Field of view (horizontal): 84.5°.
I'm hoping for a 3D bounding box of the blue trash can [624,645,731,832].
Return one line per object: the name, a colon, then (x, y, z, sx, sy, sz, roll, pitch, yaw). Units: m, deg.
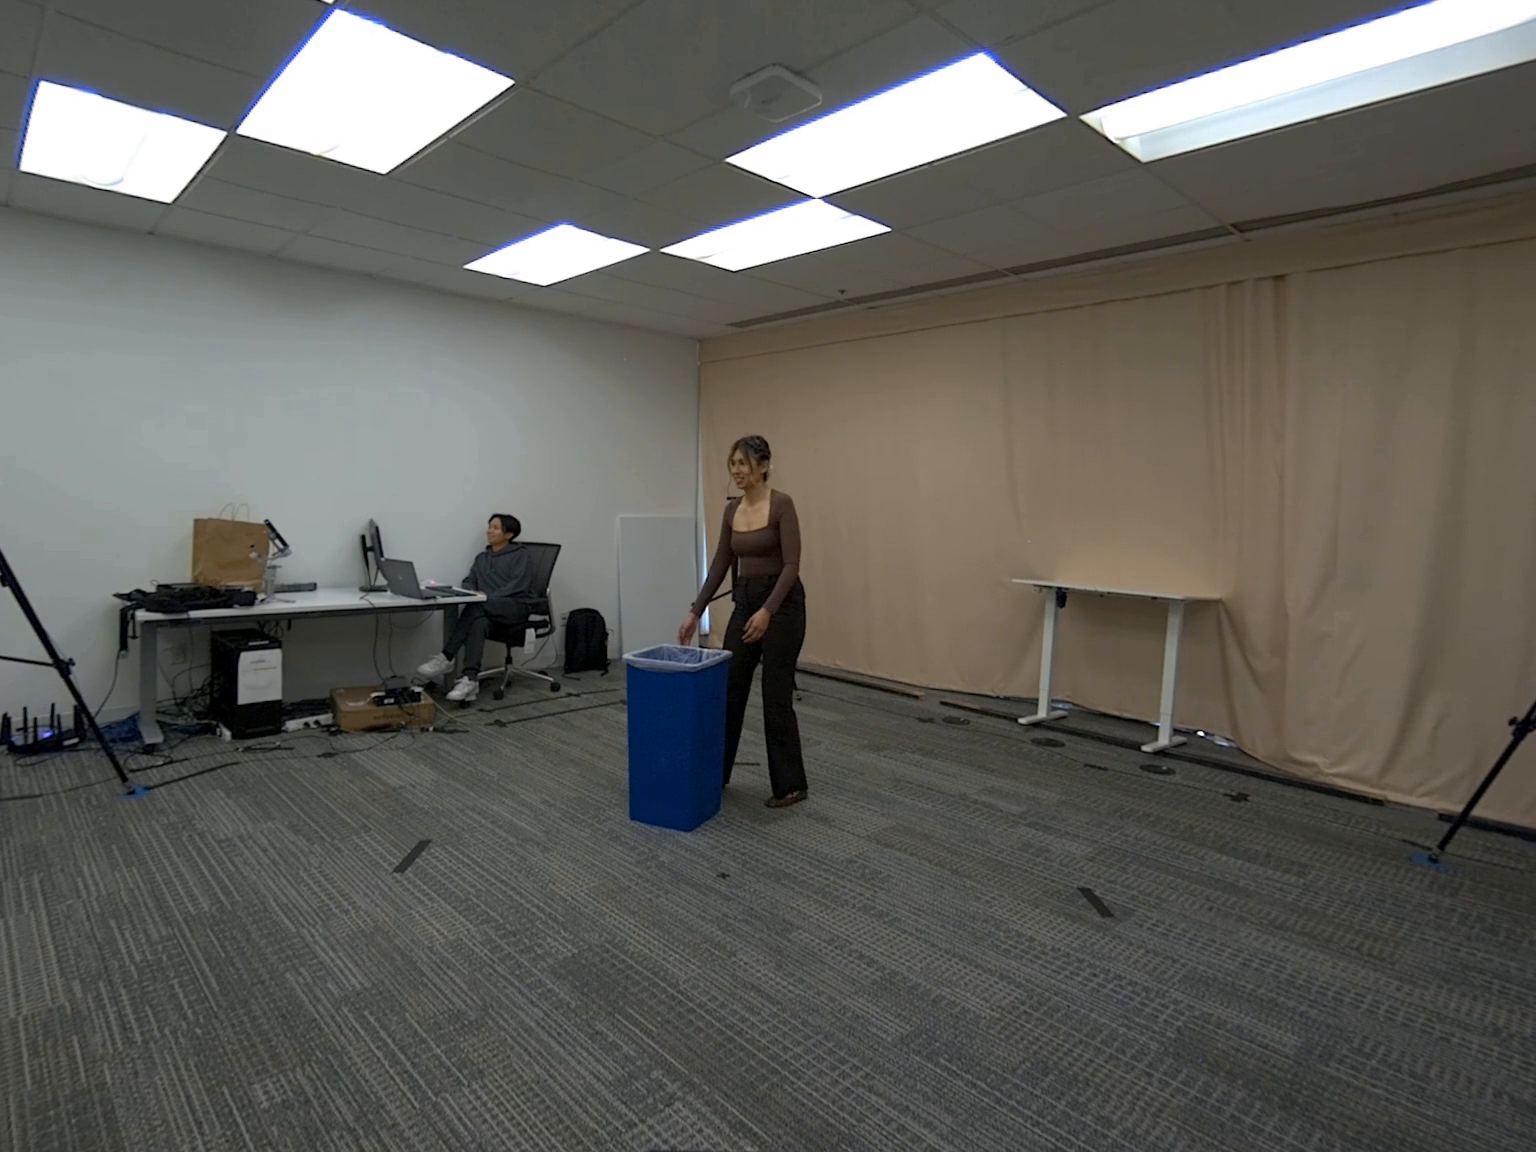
blue trash can: (-0.406, 0.691, 3.669, 0.385, 0.712, 0.367, 3, 3, 25)
